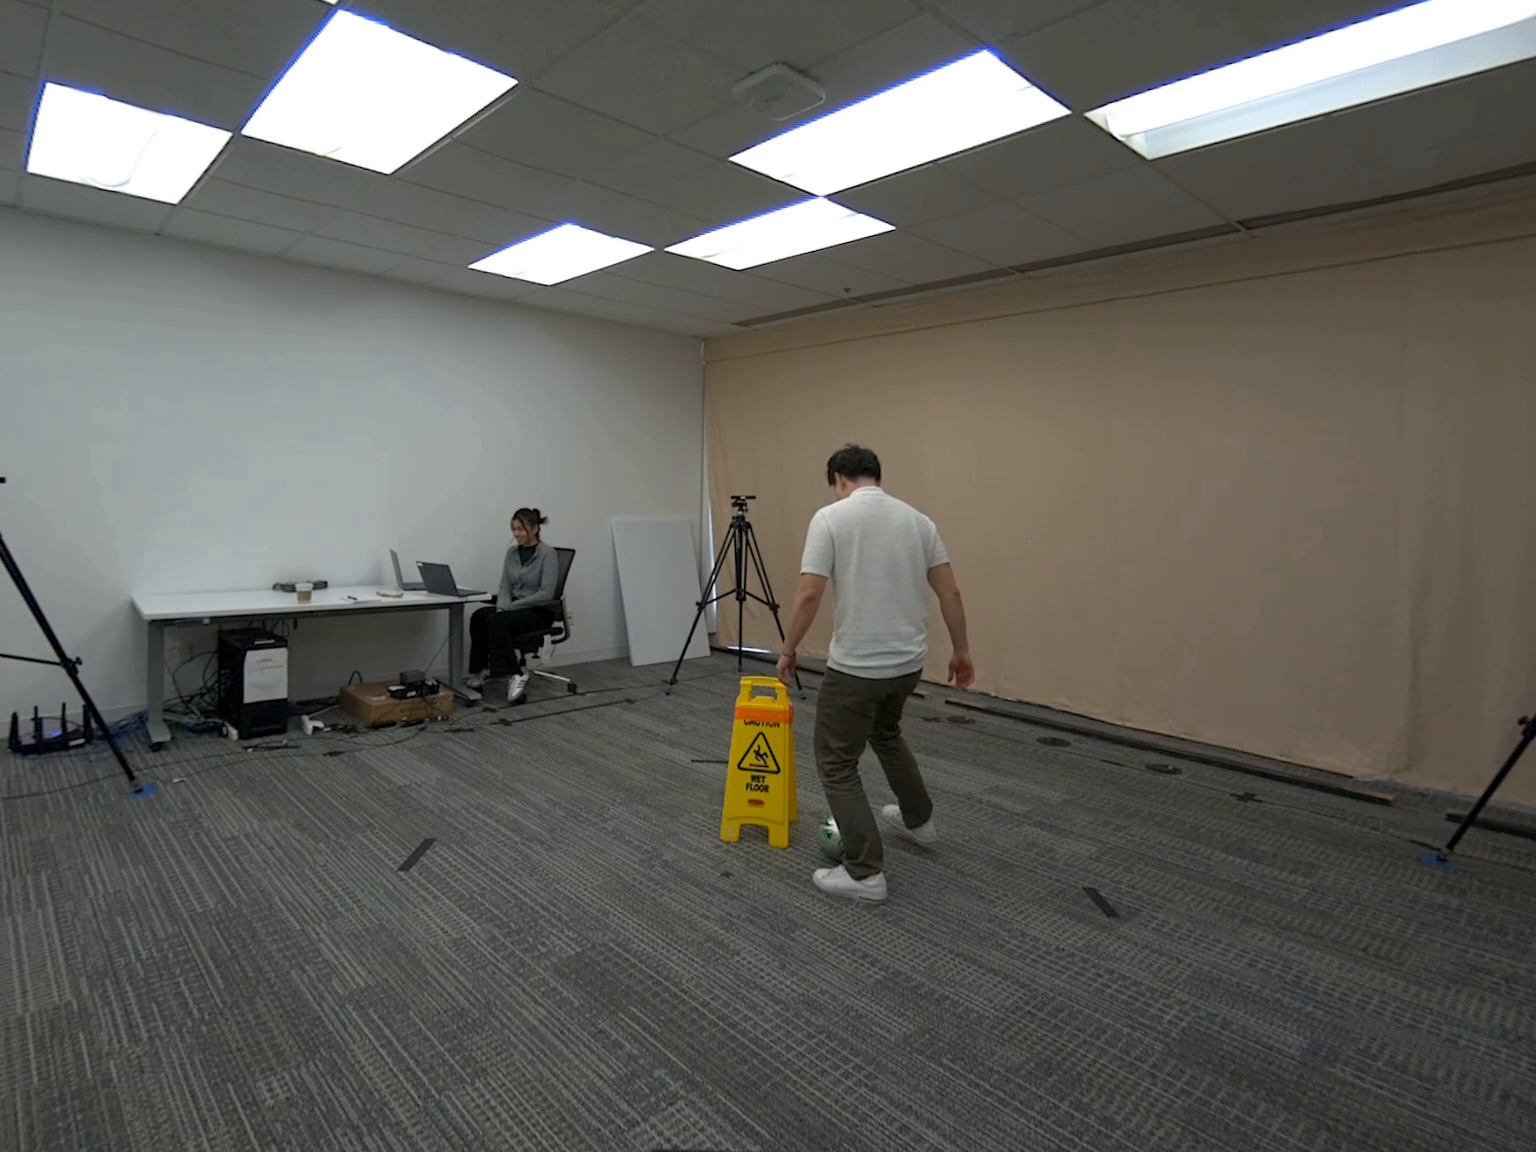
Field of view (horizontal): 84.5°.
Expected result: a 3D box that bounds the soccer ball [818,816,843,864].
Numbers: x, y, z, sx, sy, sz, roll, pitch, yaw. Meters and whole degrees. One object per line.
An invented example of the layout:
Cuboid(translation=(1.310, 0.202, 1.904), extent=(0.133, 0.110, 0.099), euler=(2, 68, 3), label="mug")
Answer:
Cuboid(translation=(0.277, 1.003, 3.249), extent=(0.187, 0.187, 0.188), euler=(1, 4, -1), label="soccer ball")
